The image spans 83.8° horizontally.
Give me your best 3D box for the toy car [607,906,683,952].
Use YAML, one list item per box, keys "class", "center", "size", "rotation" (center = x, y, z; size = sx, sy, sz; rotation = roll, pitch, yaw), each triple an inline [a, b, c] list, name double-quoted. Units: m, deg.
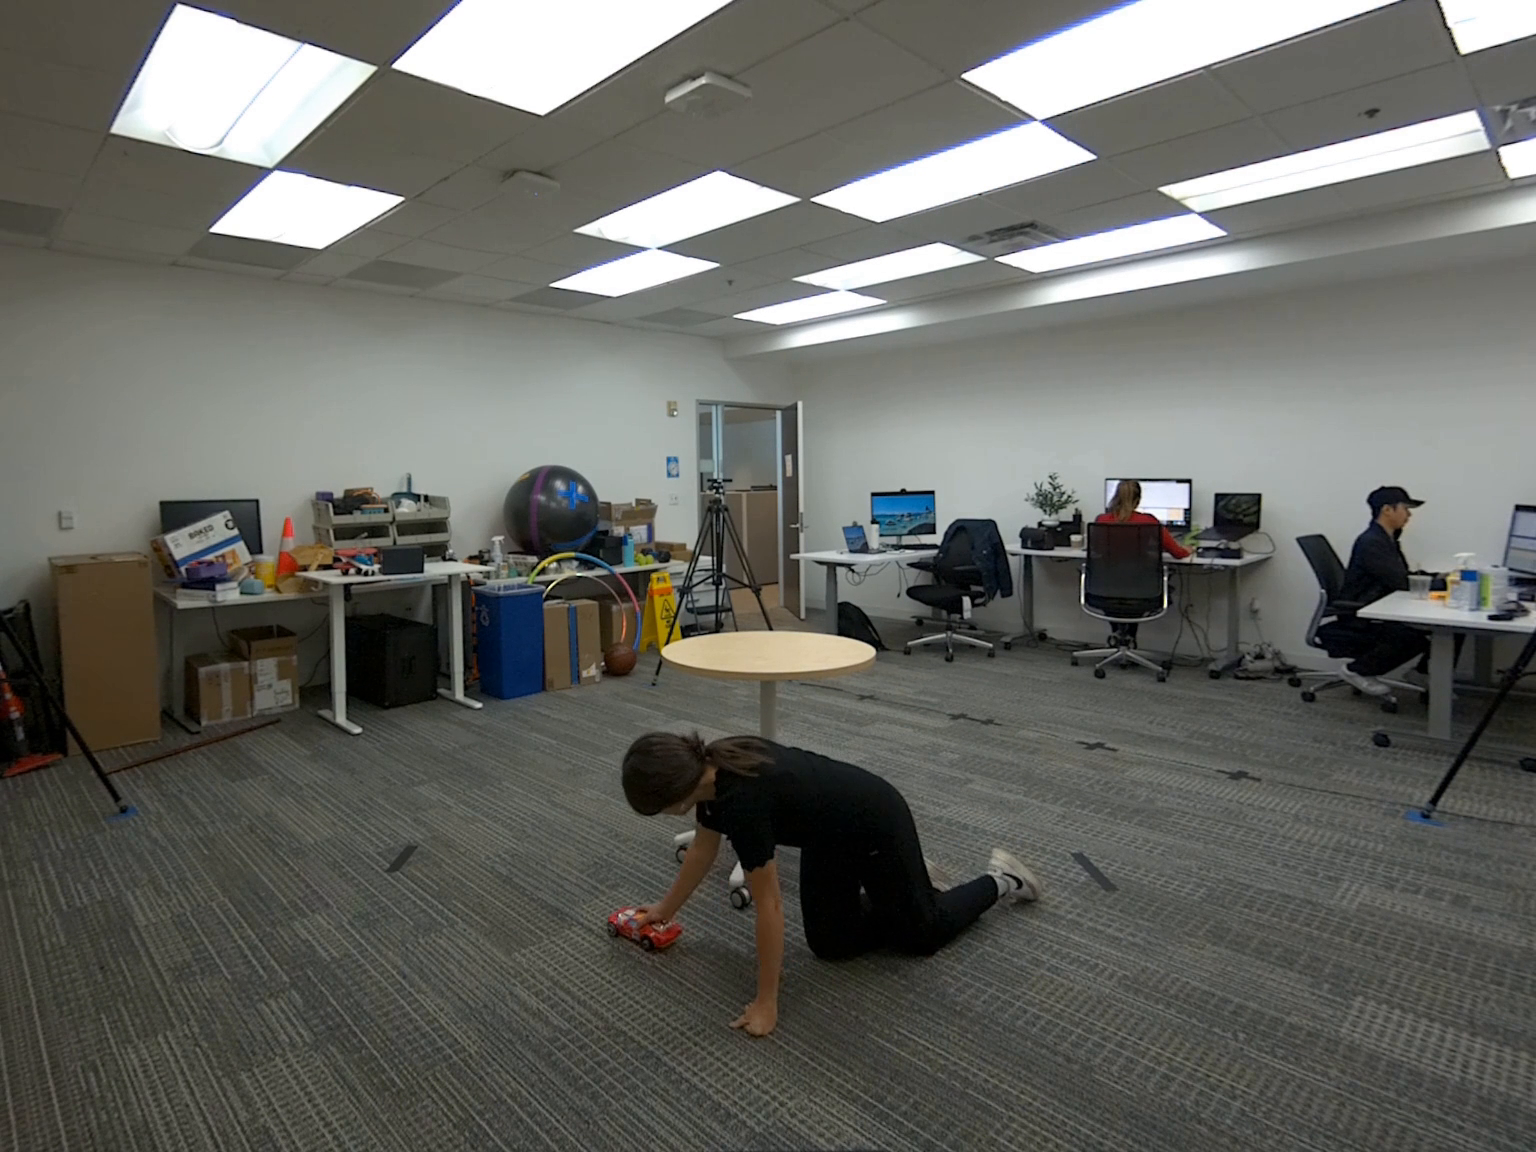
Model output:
- class: "toy car"
  center: [-0.364, 1.082, 2.609]
  size: [0.260, 0.083, 0.127]
  rotation: [-7, 1, 35]
